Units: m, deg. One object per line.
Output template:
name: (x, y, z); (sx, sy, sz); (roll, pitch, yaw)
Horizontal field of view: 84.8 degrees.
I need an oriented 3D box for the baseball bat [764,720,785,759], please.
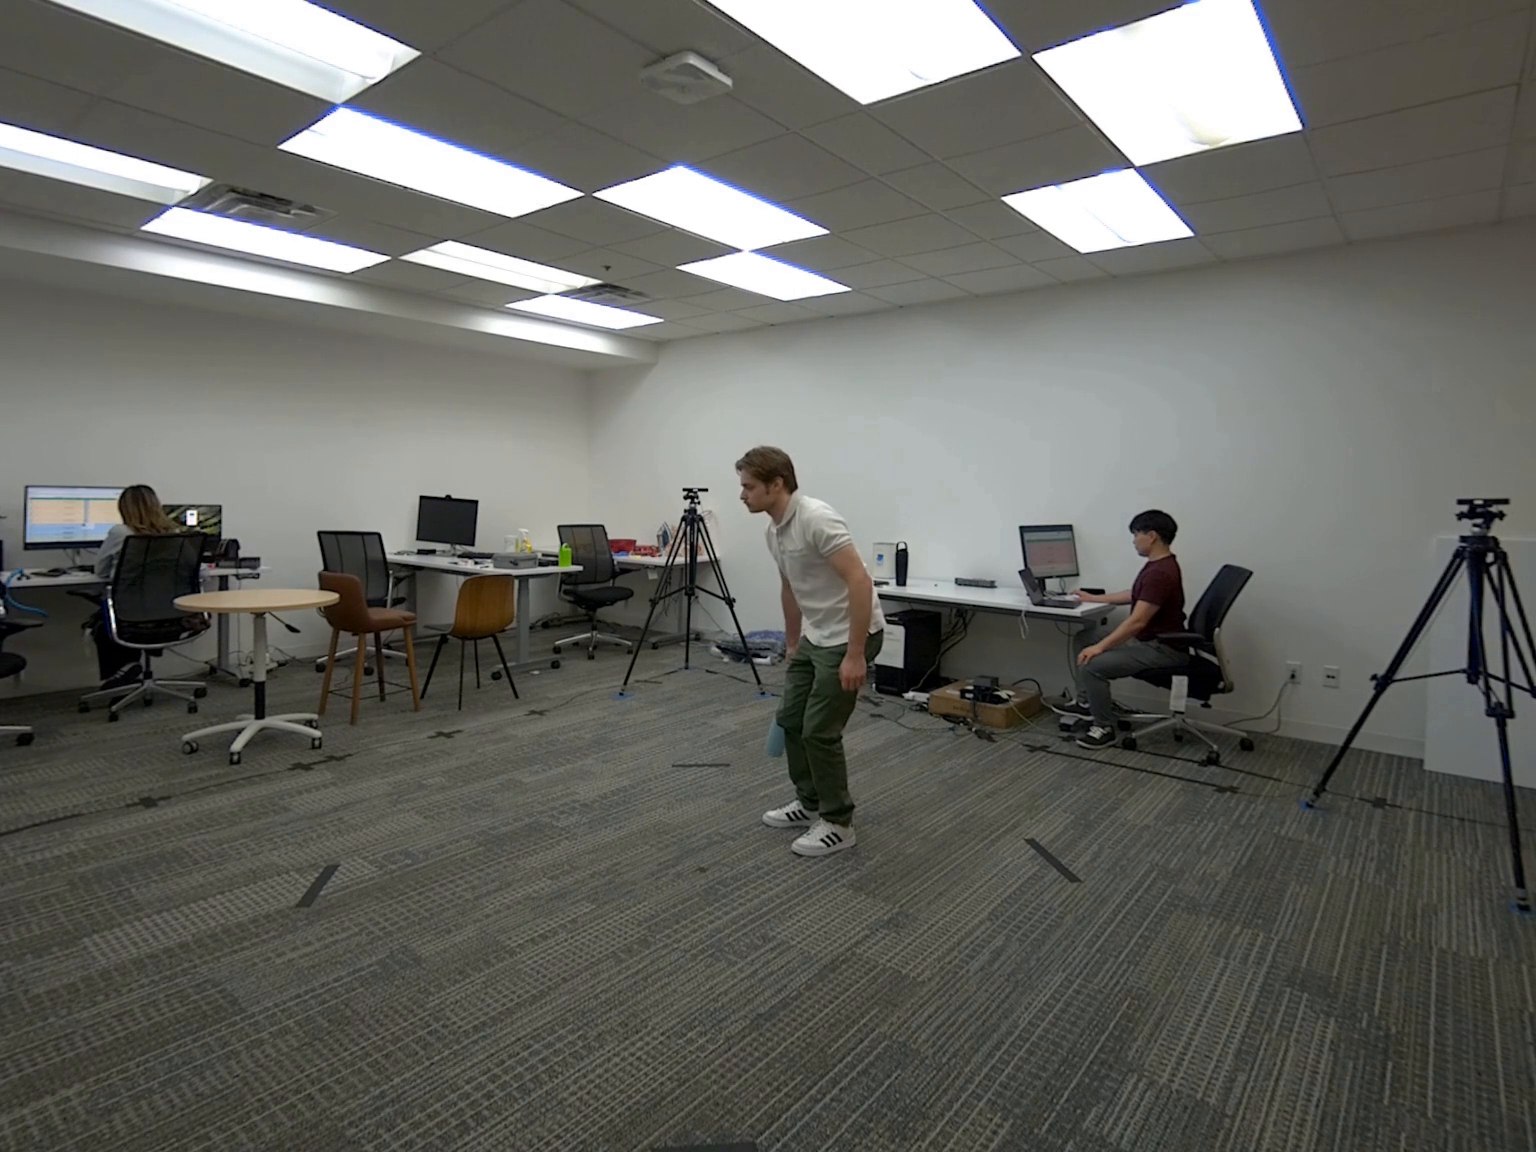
baseball bat: (0.080, 0.551, 3.710); (0.088, 0.536, 0.091); (12, 19, -6)
